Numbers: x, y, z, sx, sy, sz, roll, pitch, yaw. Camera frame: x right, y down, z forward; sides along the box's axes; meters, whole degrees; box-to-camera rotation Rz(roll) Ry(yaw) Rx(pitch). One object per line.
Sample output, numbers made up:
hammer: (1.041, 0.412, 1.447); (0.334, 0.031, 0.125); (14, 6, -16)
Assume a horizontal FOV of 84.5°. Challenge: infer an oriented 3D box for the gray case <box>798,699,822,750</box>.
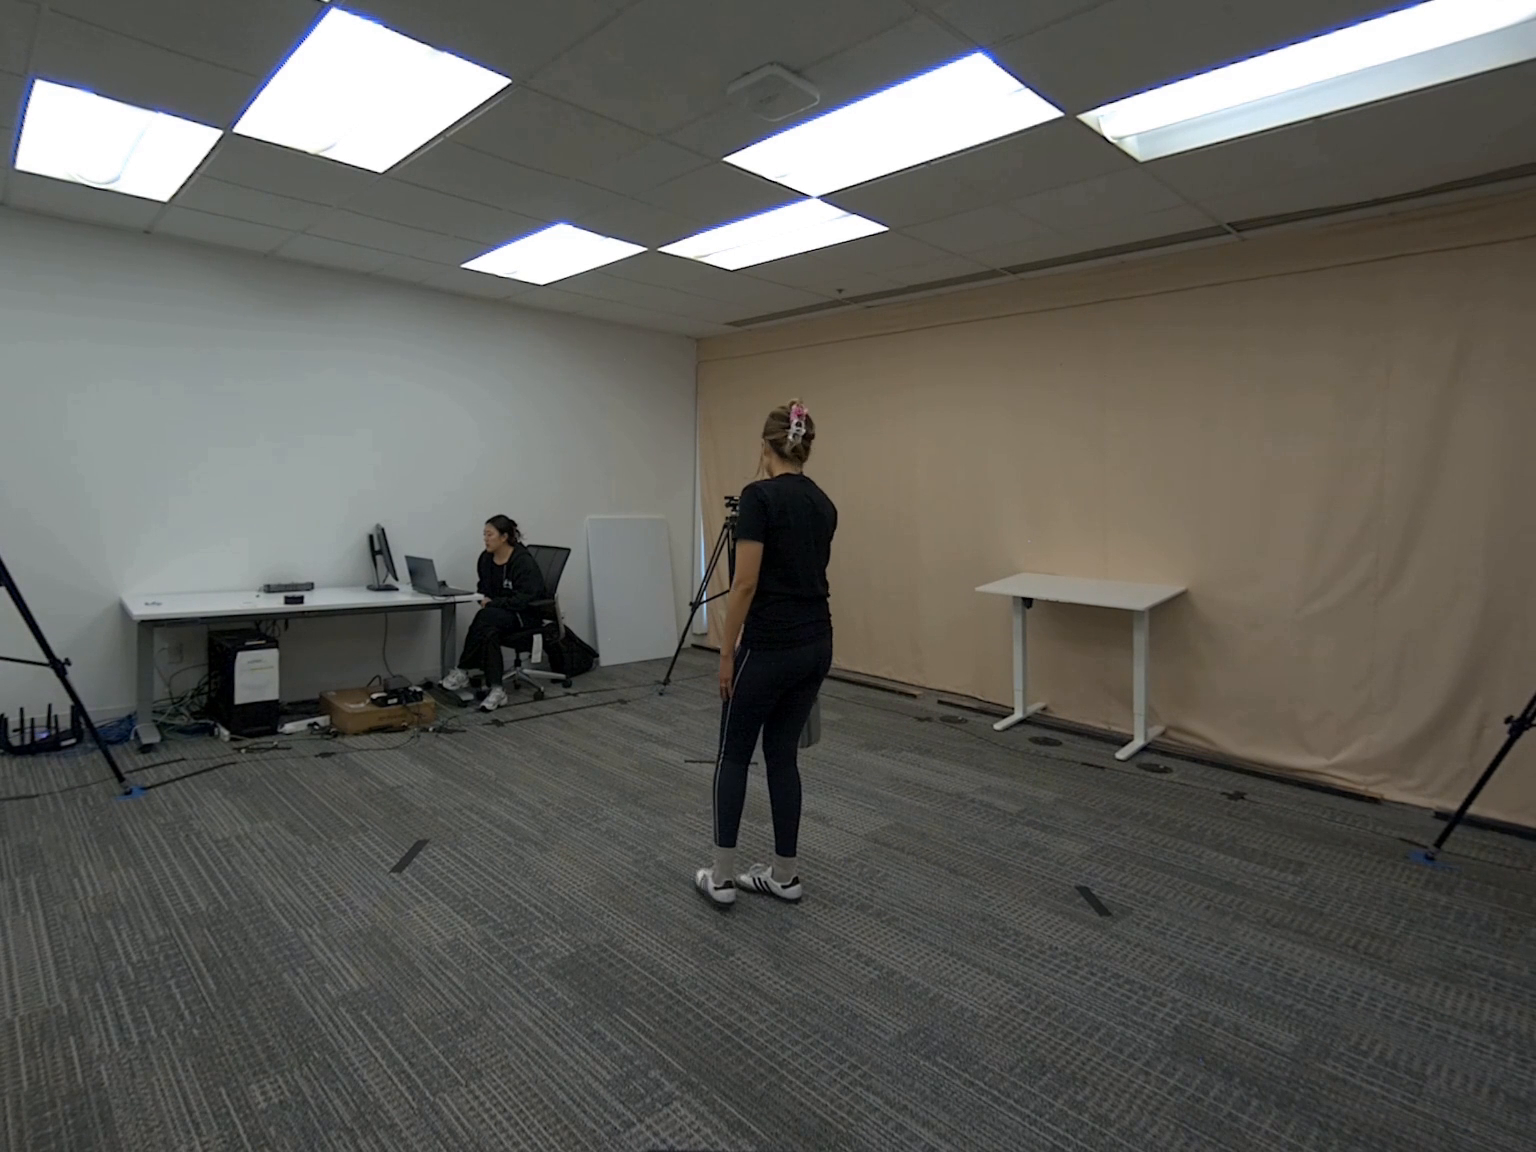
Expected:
gray case: (0.081, 0.510, 3.273); (0.102, 0.258, 0.264); (-13, 19, -37)
